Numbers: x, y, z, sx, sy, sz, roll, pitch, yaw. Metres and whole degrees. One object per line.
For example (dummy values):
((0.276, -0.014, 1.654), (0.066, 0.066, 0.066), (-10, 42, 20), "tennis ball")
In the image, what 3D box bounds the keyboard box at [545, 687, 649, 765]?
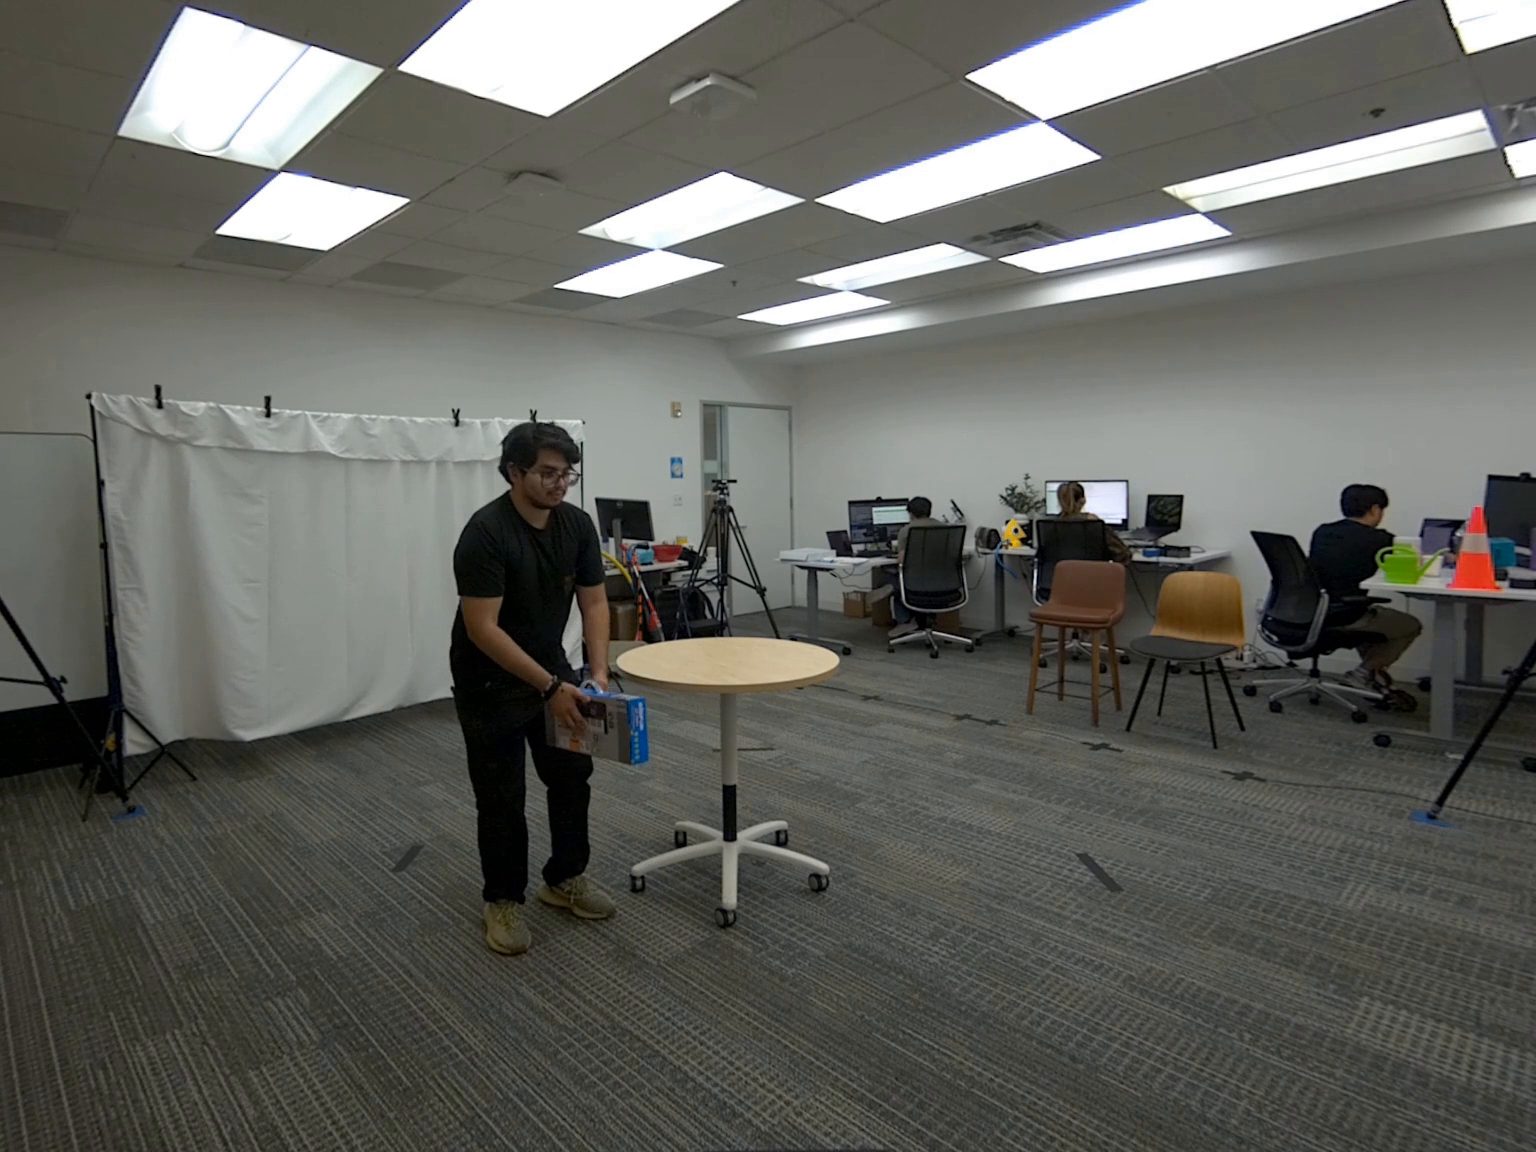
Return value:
((-0.493, 0.421, 2.411), (0.057, 0.176, 0.449), (-3, 1, -43), "keyboard box")
